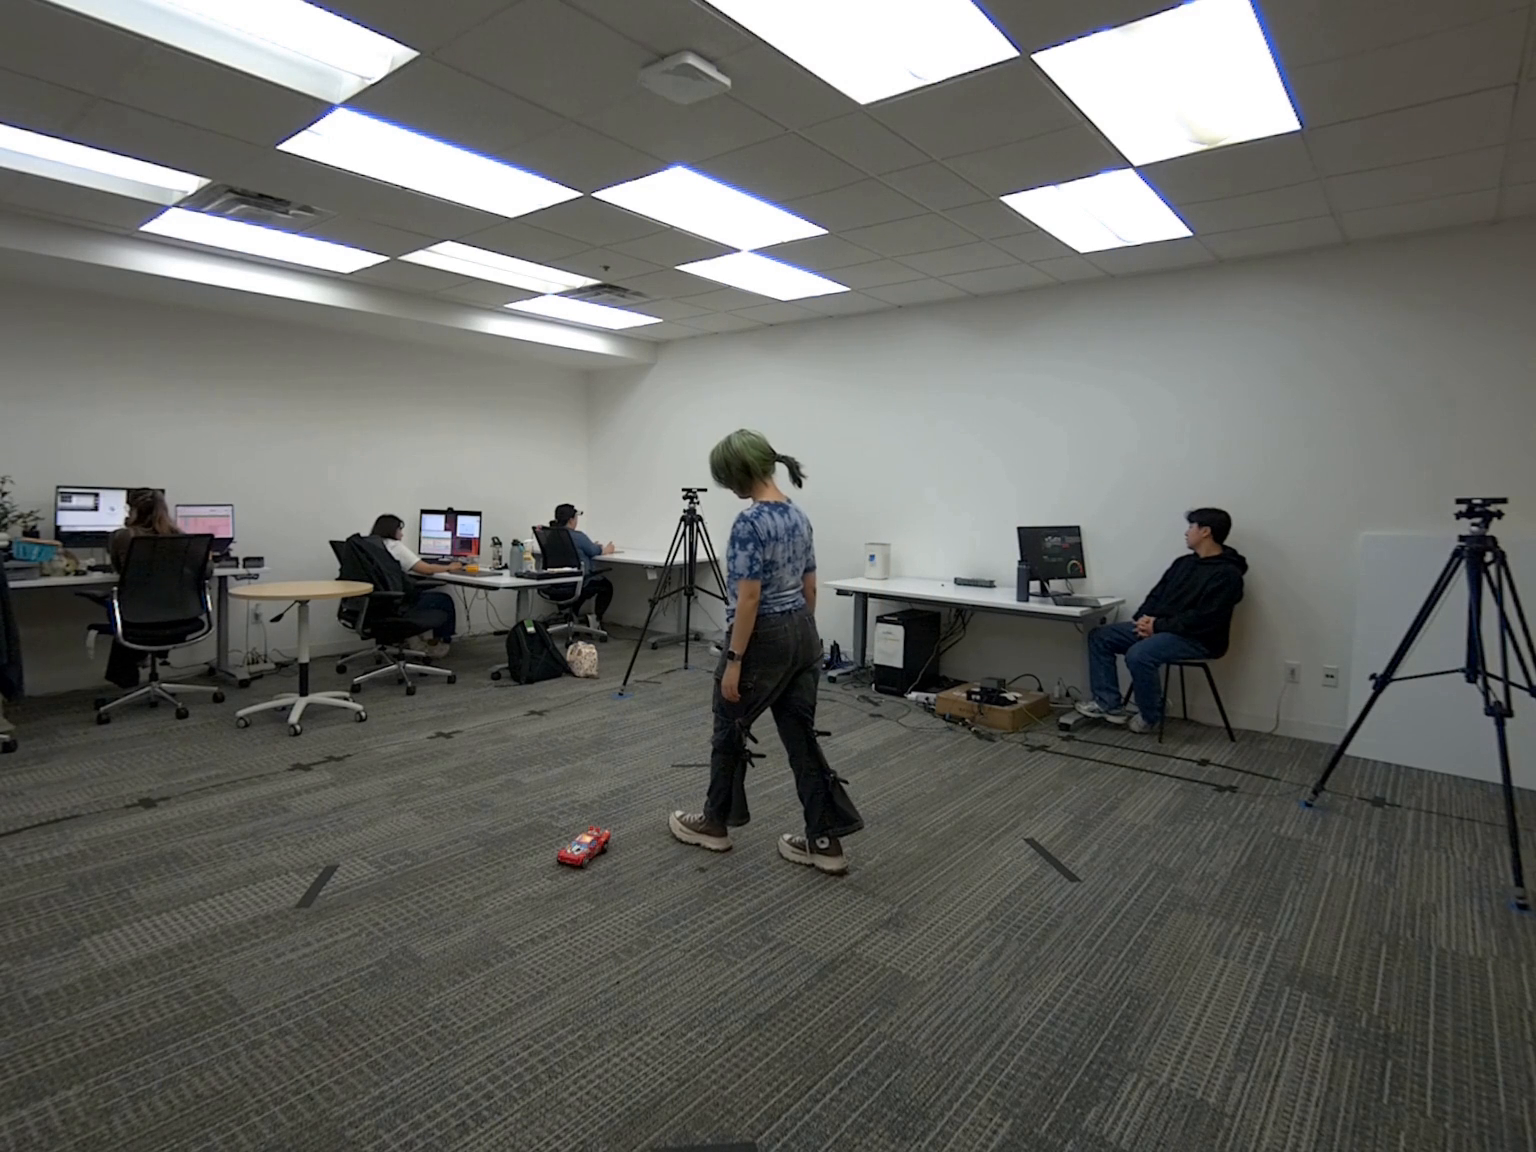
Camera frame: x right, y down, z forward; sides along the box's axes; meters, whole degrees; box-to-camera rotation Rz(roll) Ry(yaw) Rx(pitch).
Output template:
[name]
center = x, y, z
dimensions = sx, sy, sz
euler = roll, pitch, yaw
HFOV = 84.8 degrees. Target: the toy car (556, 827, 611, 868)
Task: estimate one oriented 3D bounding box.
[toy car]
center = -0.699, 1.024, 3.211
dimensions = 0.133, 0.082, 0.252
euler = 1, 15, 20
